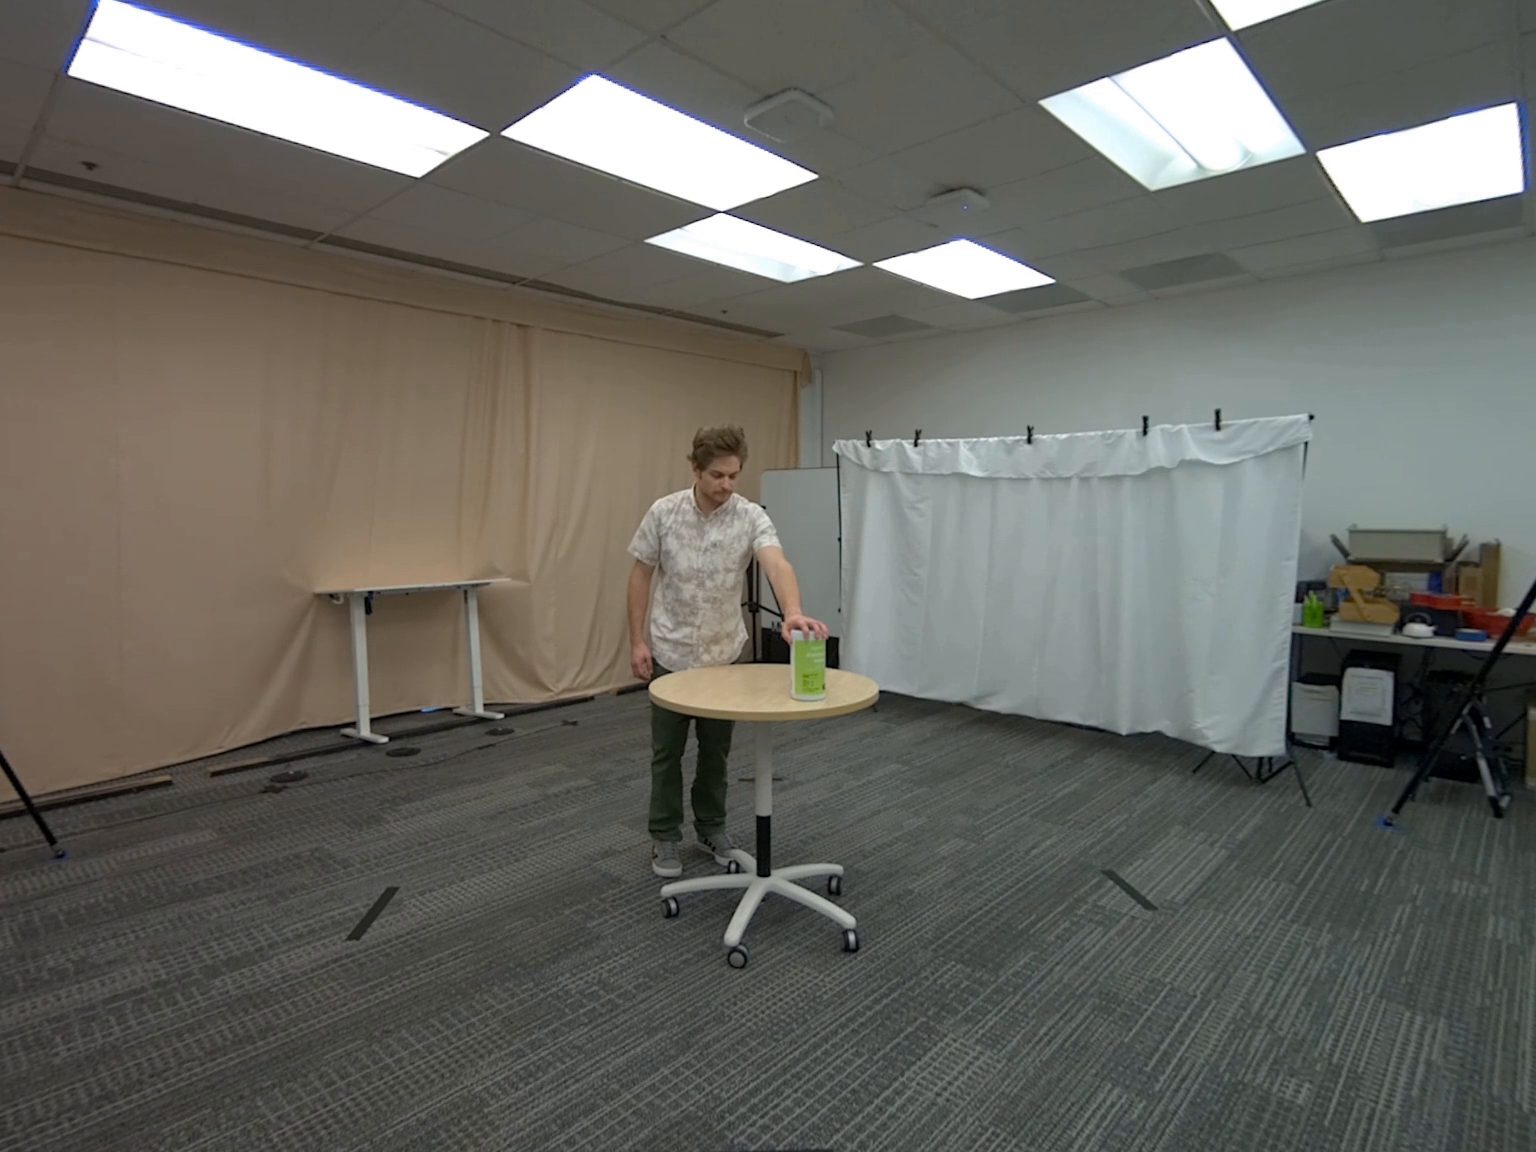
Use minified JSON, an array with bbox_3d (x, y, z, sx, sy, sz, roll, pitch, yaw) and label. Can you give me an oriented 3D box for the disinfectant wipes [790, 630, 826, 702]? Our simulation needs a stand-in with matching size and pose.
[{"bbox_3d":[0.128,0.275,2.623,0.118,0.217,0.118,1,2,-2],"label":"disinfectant wipes"}]
